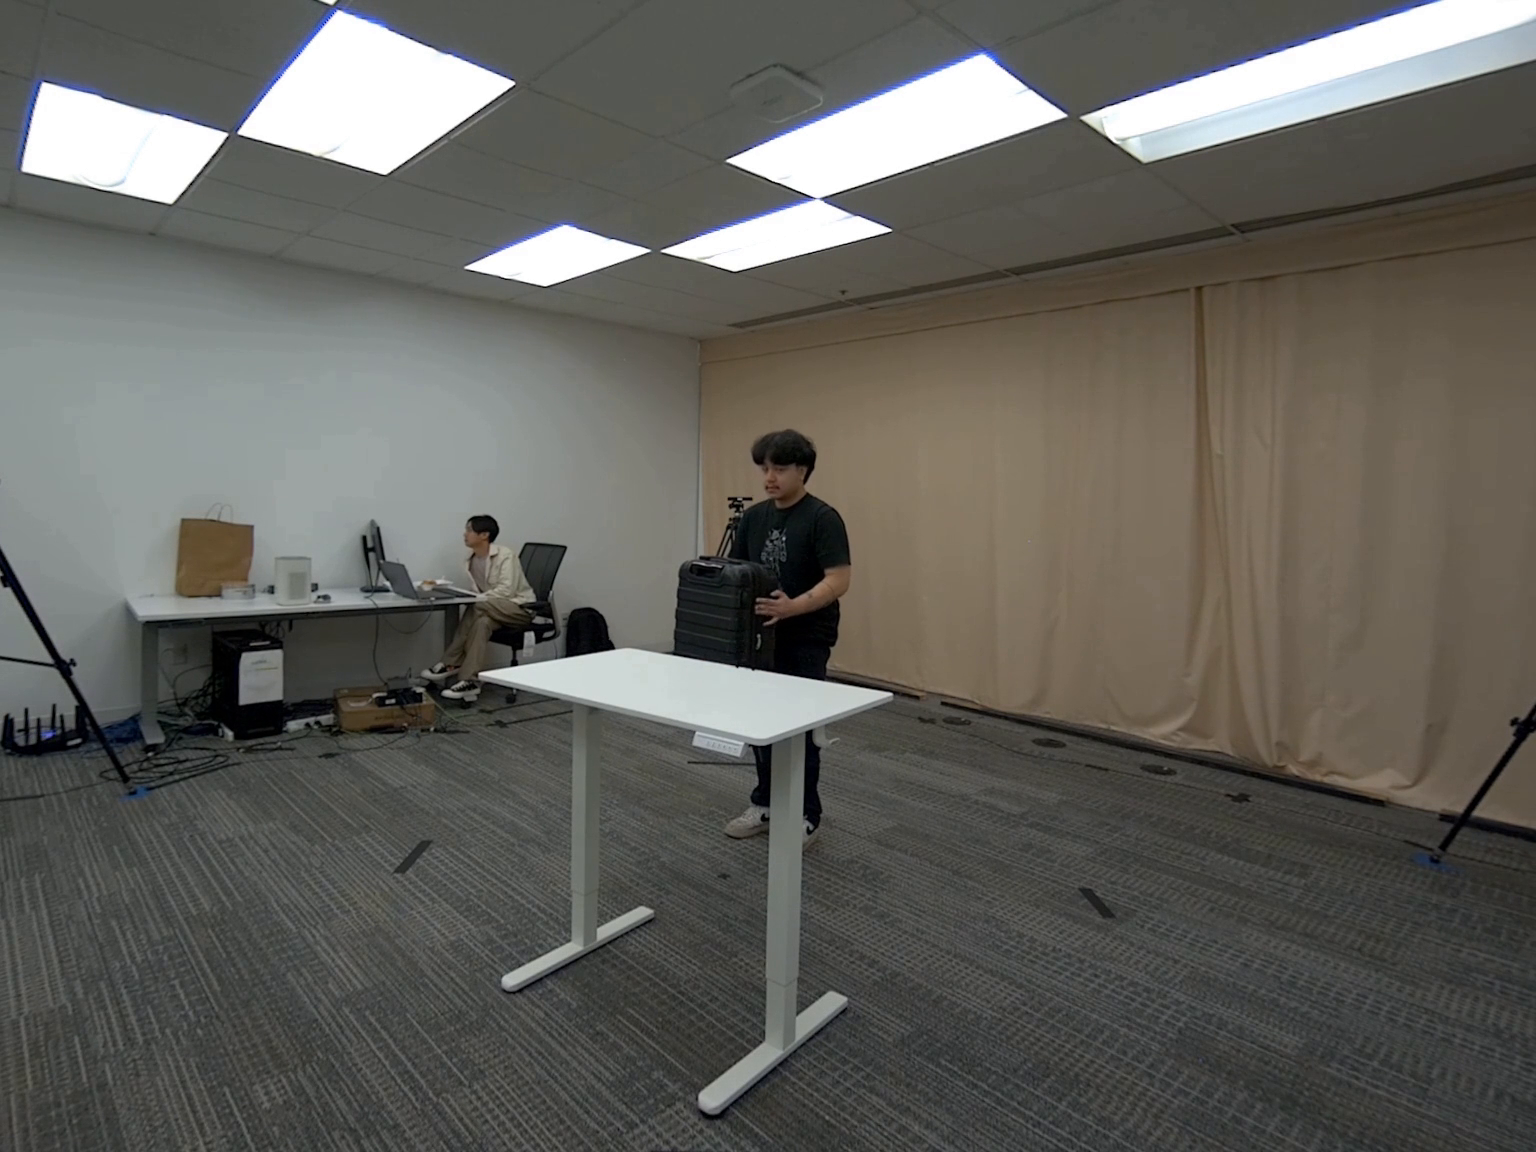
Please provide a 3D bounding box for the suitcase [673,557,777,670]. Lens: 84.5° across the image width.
[{"bbox_3d":[-0.169,0.205,3.197,0.385,0.548,0.242,5,3,43],"label":"suitcase"}]
